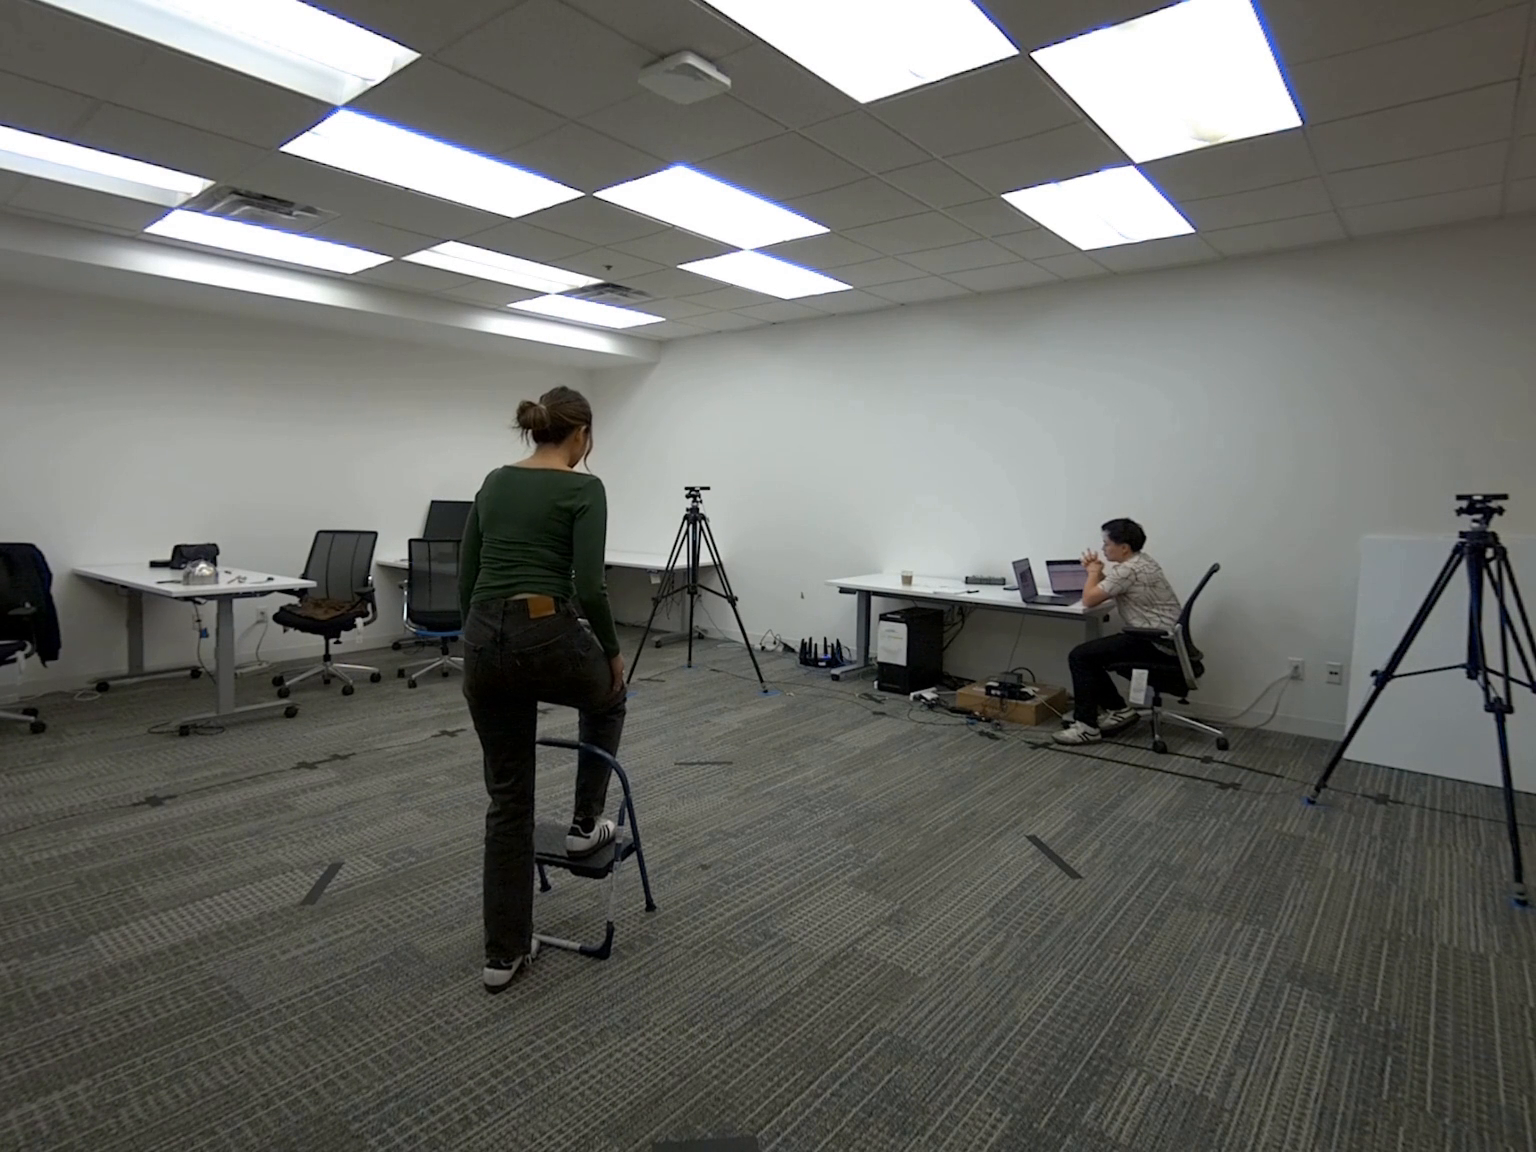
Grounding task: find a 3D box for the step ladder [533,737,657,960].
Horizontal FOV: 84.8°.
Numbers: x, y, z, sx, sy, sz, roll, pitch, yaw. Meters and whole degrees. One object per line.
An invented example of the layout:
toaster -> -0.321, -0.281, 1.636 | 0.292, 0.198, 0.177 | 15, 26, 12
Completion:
step ladder -> -0.628, 0.799, 2.703 | 0.439, 0.604, 0.343 | 2, 4, 18
